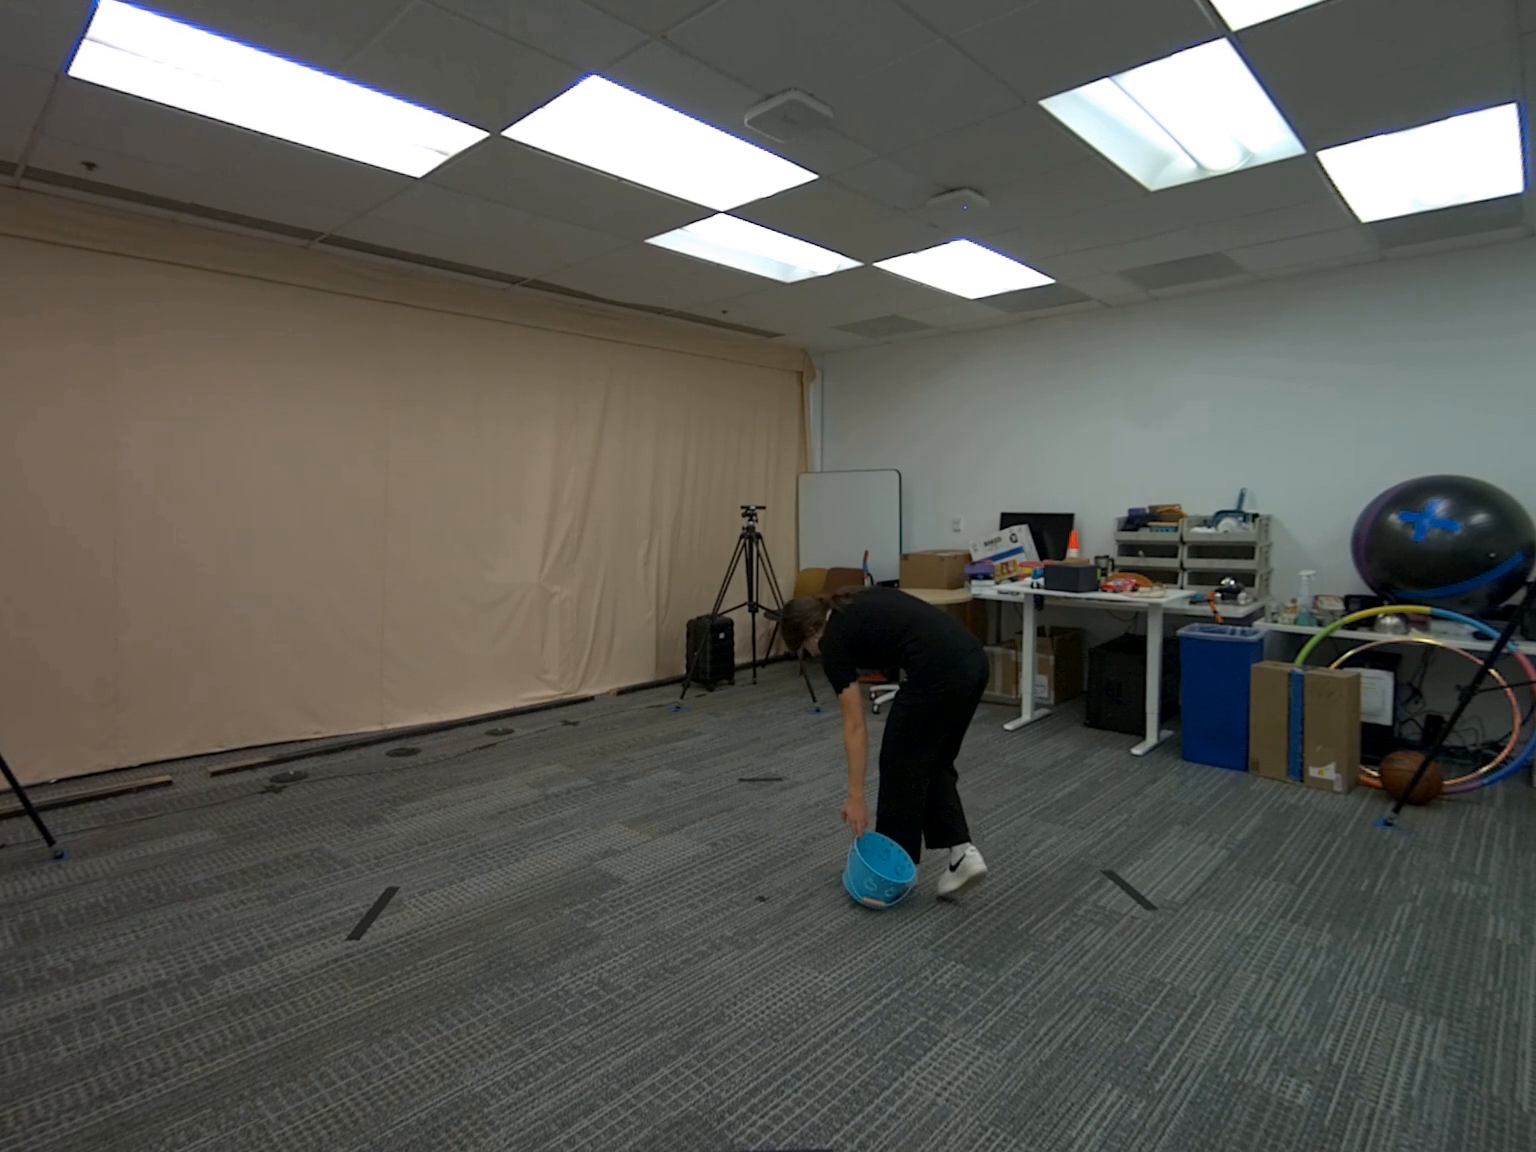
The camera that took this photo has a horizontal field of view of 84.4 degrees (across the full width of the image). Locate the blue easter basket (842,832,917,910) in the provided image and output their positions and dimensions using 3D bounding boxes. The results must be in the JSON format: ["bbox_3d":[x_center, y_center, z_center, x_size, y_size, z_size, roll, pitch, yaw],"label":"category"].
[{"bbox_3d":[0.383,1.039,2.936,0.241,0.155,0.247,21,17,-9],"label":"blue easter basket"}]
